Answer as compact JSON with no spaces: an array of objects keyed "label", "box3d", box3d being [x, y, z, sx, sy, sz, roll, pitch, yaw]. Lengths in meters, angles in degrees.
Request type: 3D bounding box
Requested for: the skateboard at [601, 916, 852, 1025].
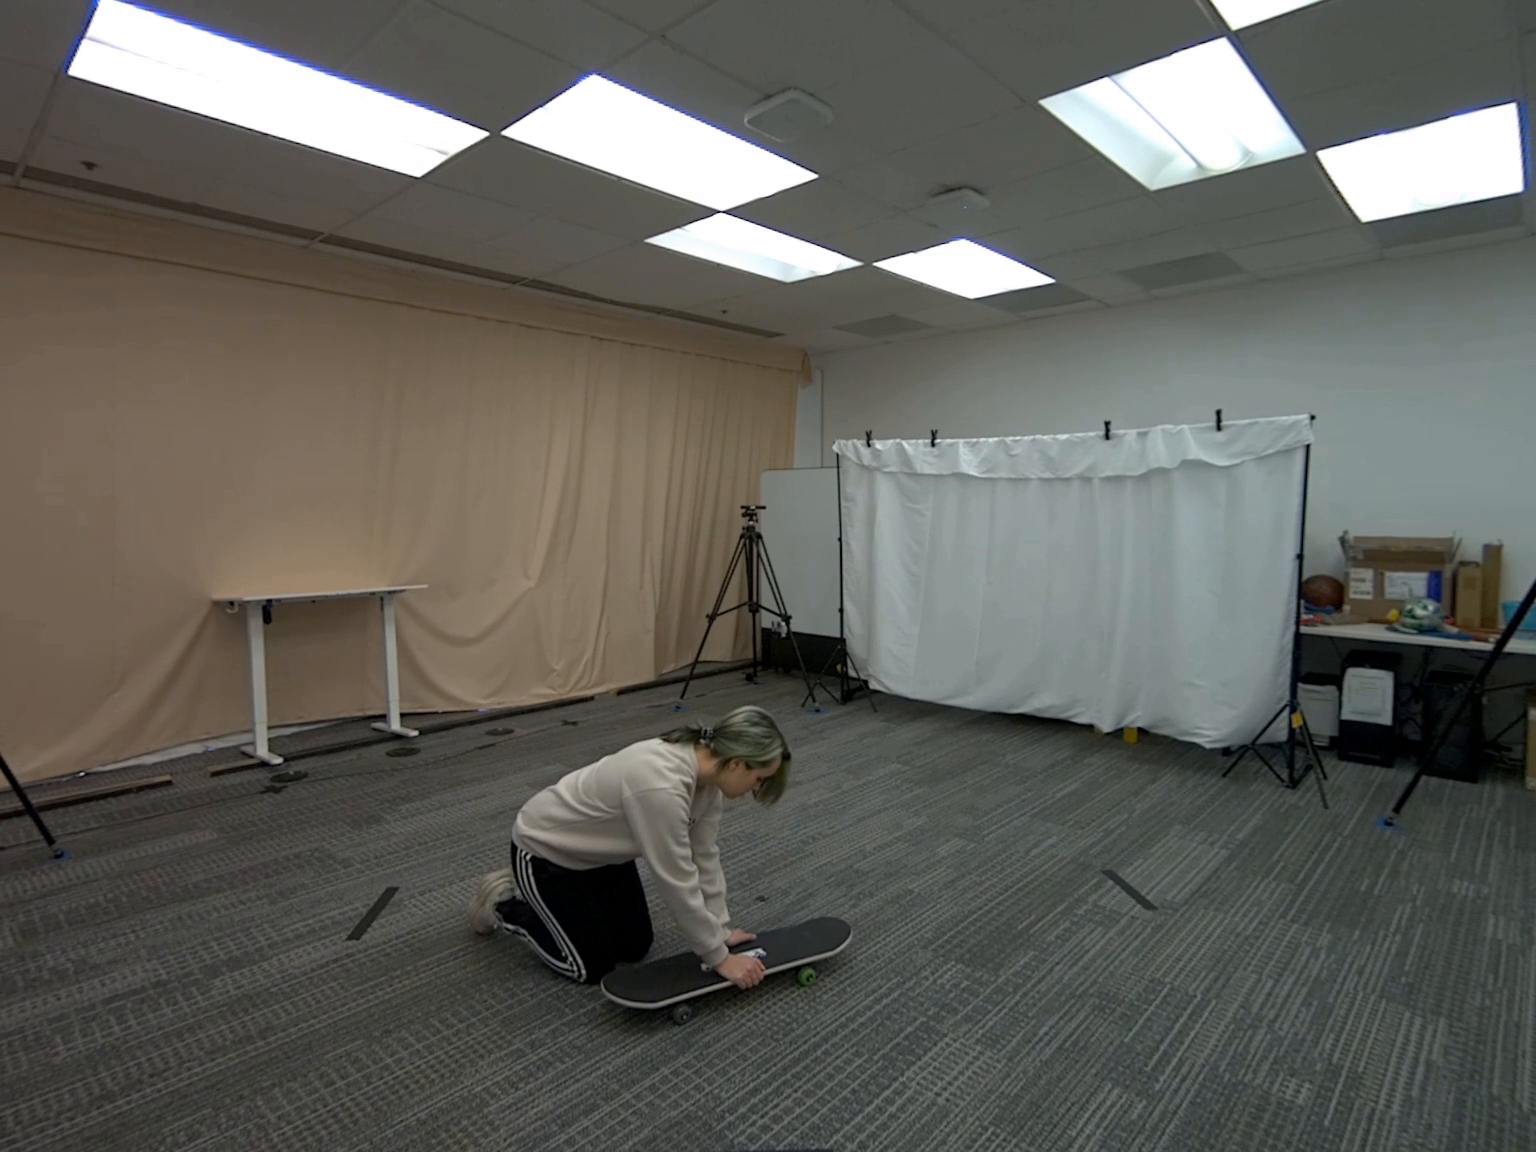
[{"label":"skateboard","box3d":[-0.096,1.140,2.419,0.766,0.110,0.199,-3,5,-26]}]
